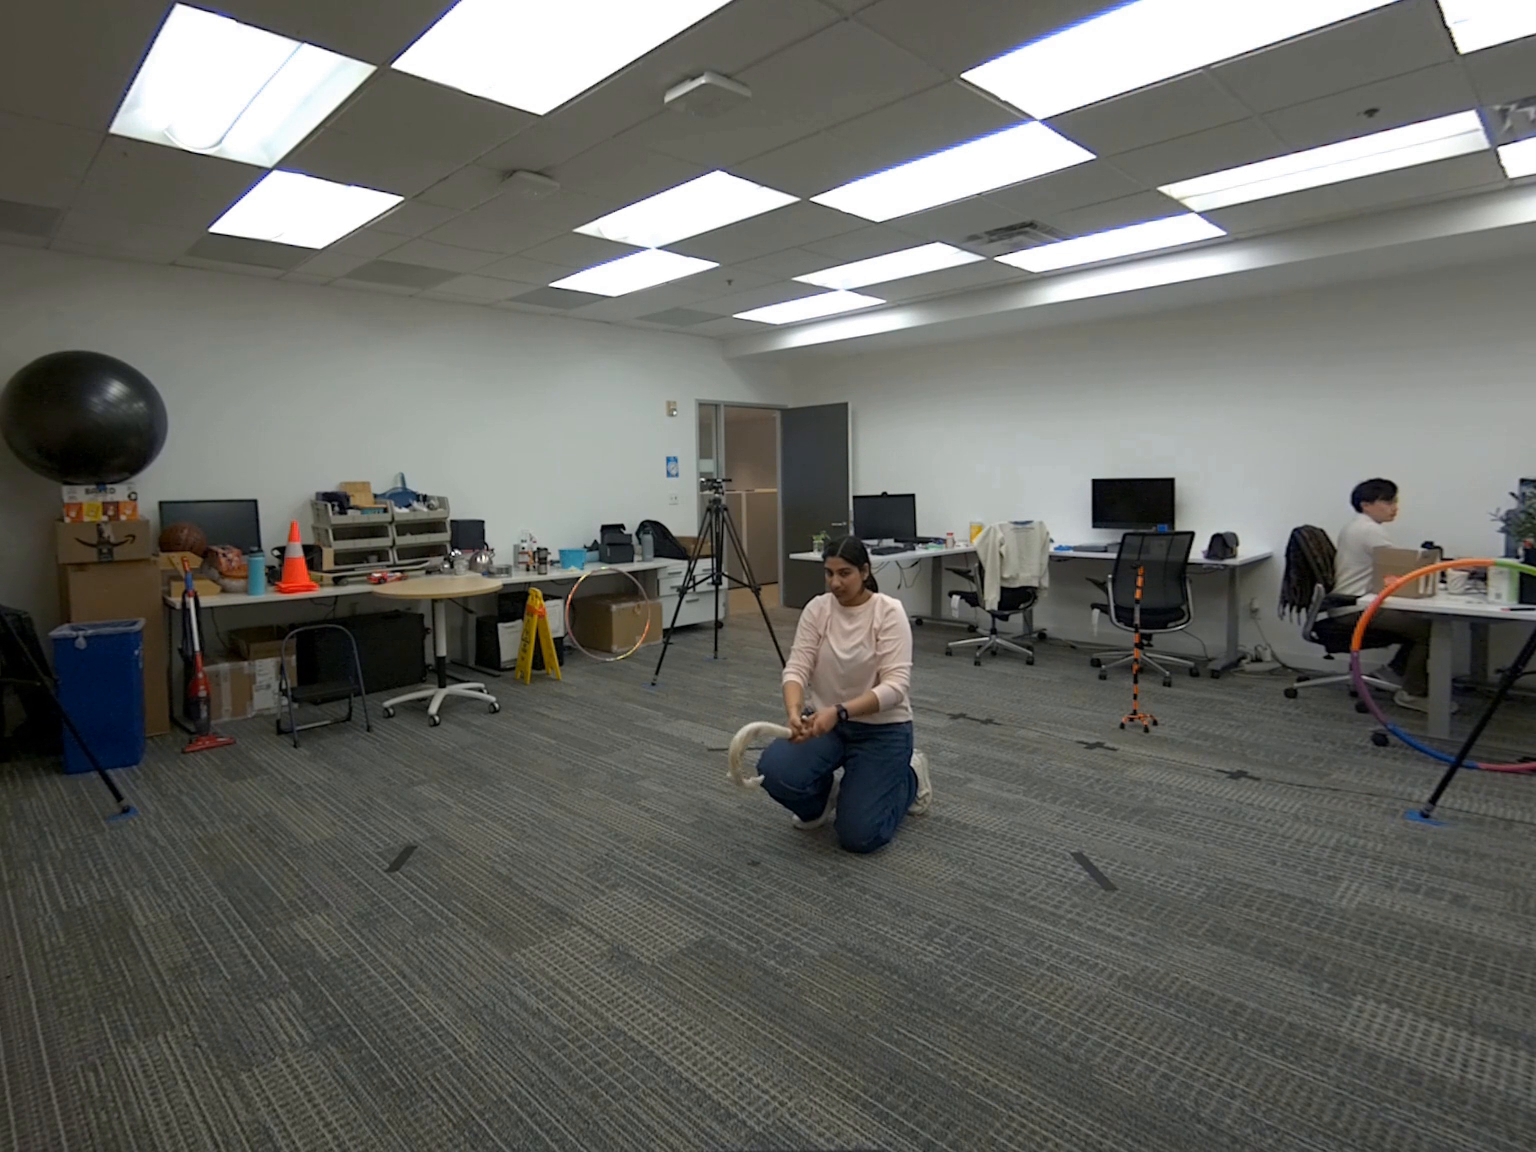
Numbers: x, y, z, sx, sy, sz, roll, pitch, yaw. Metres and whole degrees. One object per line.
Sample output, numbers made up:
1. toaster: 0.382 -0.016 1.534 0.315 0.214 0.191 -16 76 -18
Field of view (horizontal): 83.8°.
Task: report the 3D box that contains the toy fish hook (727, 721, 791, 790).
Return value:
1. toy fish hook: 0.028 0.566 2.864 0.050 0.223 0.491 14 8 40
